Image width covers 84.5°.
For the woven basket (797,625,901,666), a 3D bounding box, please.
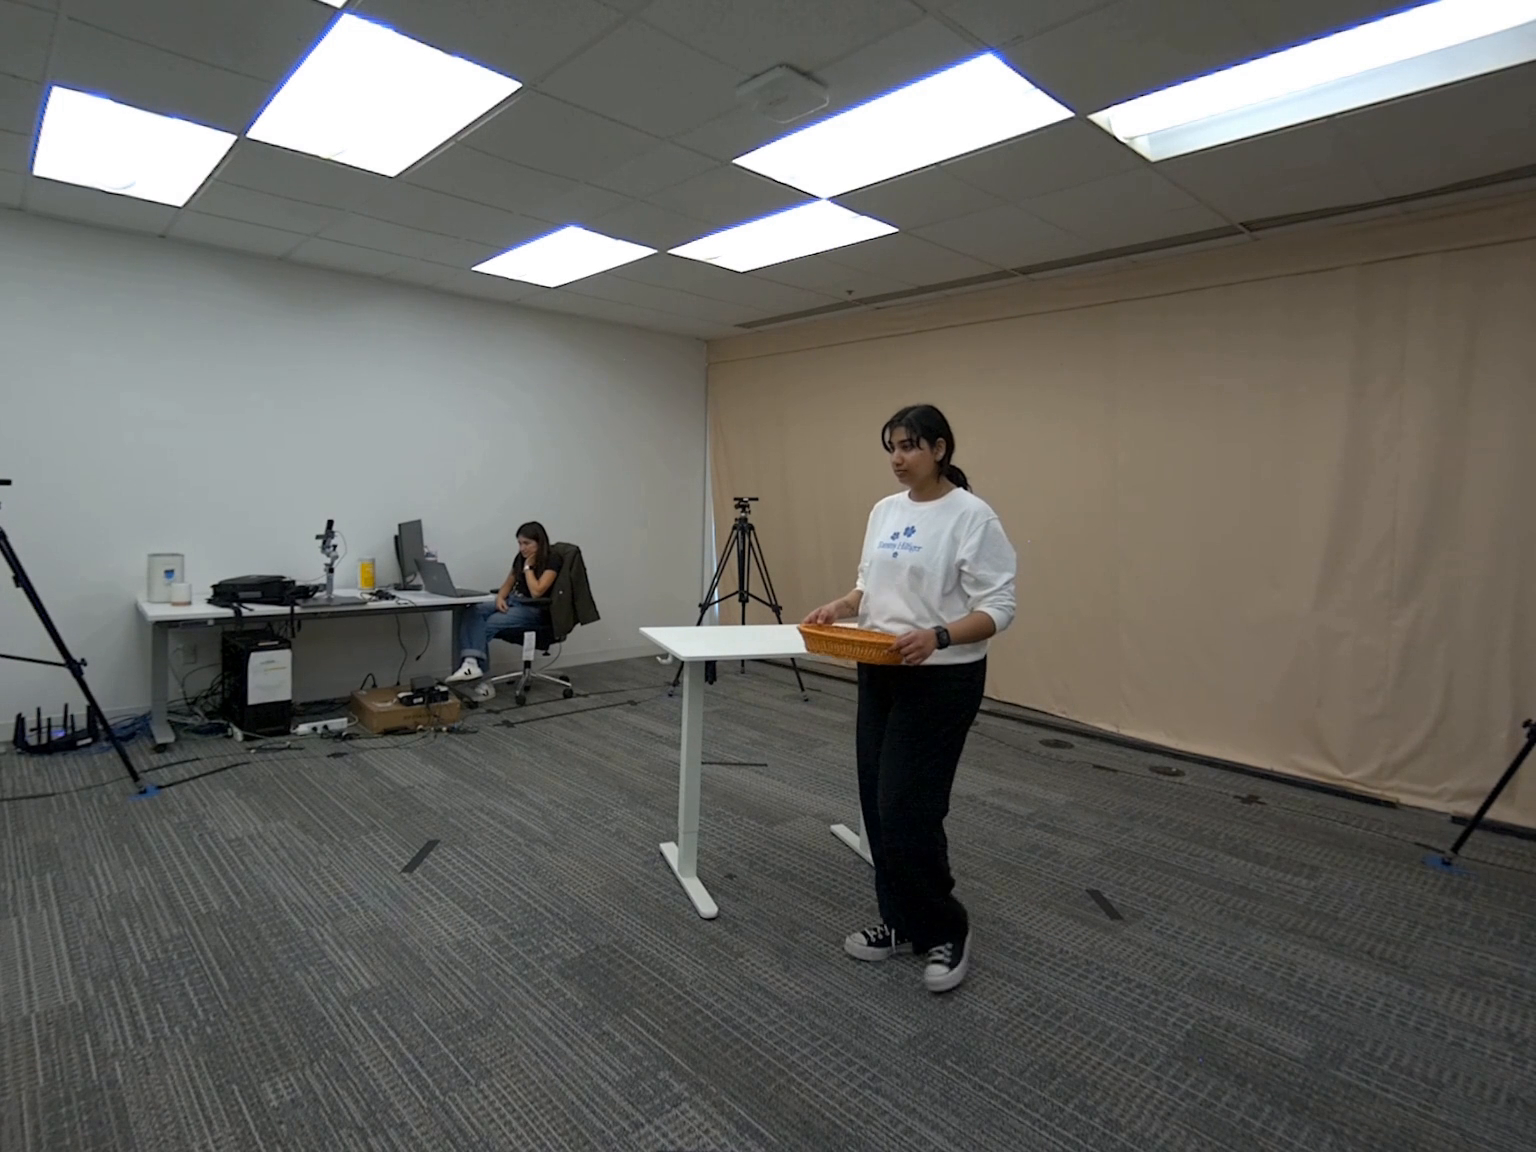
[{"bbox_3d":[0.283,0.207,2.366,0.359,0.073,0.246,7,4,43],"label":"woven basket"}]
